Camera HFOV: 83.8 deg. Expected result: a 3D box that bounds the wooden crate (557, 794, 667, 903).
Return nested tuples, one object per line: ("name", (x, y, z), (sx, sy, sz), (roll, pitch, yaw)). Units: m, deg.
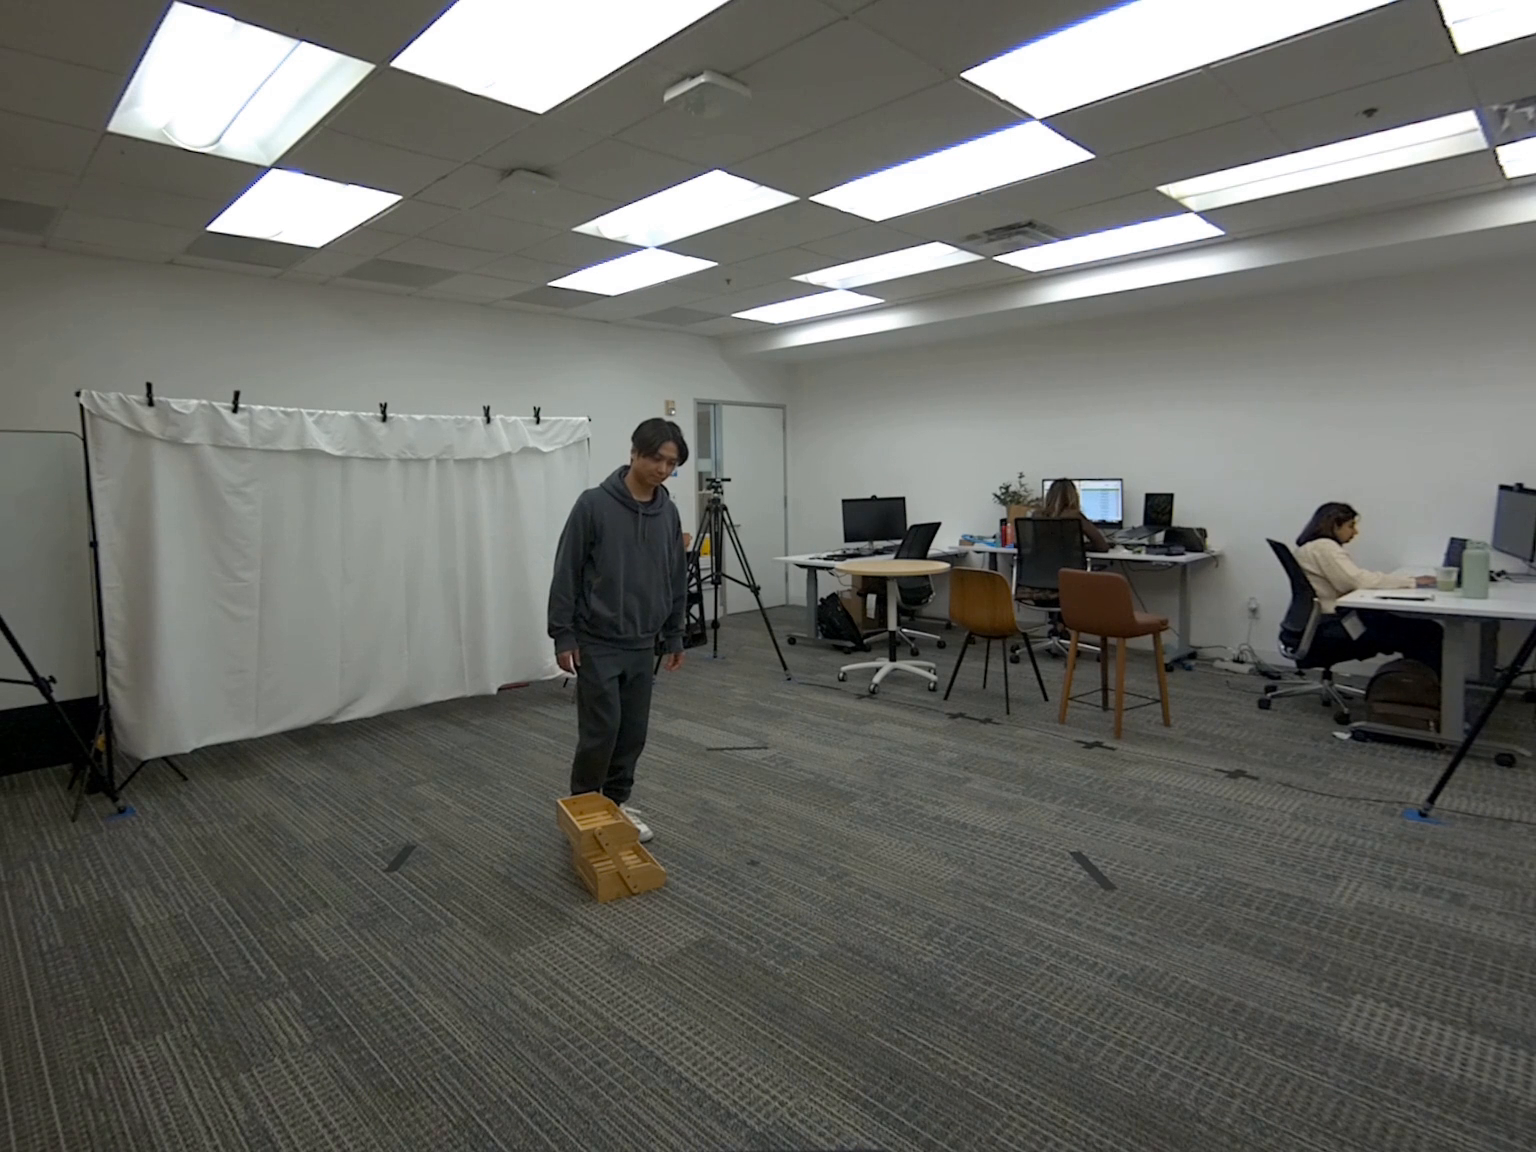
("wooden crate", (-0.545, 0.925, 3.003), (0.295, 0.272, 0.333), (-5, 6, -27))
